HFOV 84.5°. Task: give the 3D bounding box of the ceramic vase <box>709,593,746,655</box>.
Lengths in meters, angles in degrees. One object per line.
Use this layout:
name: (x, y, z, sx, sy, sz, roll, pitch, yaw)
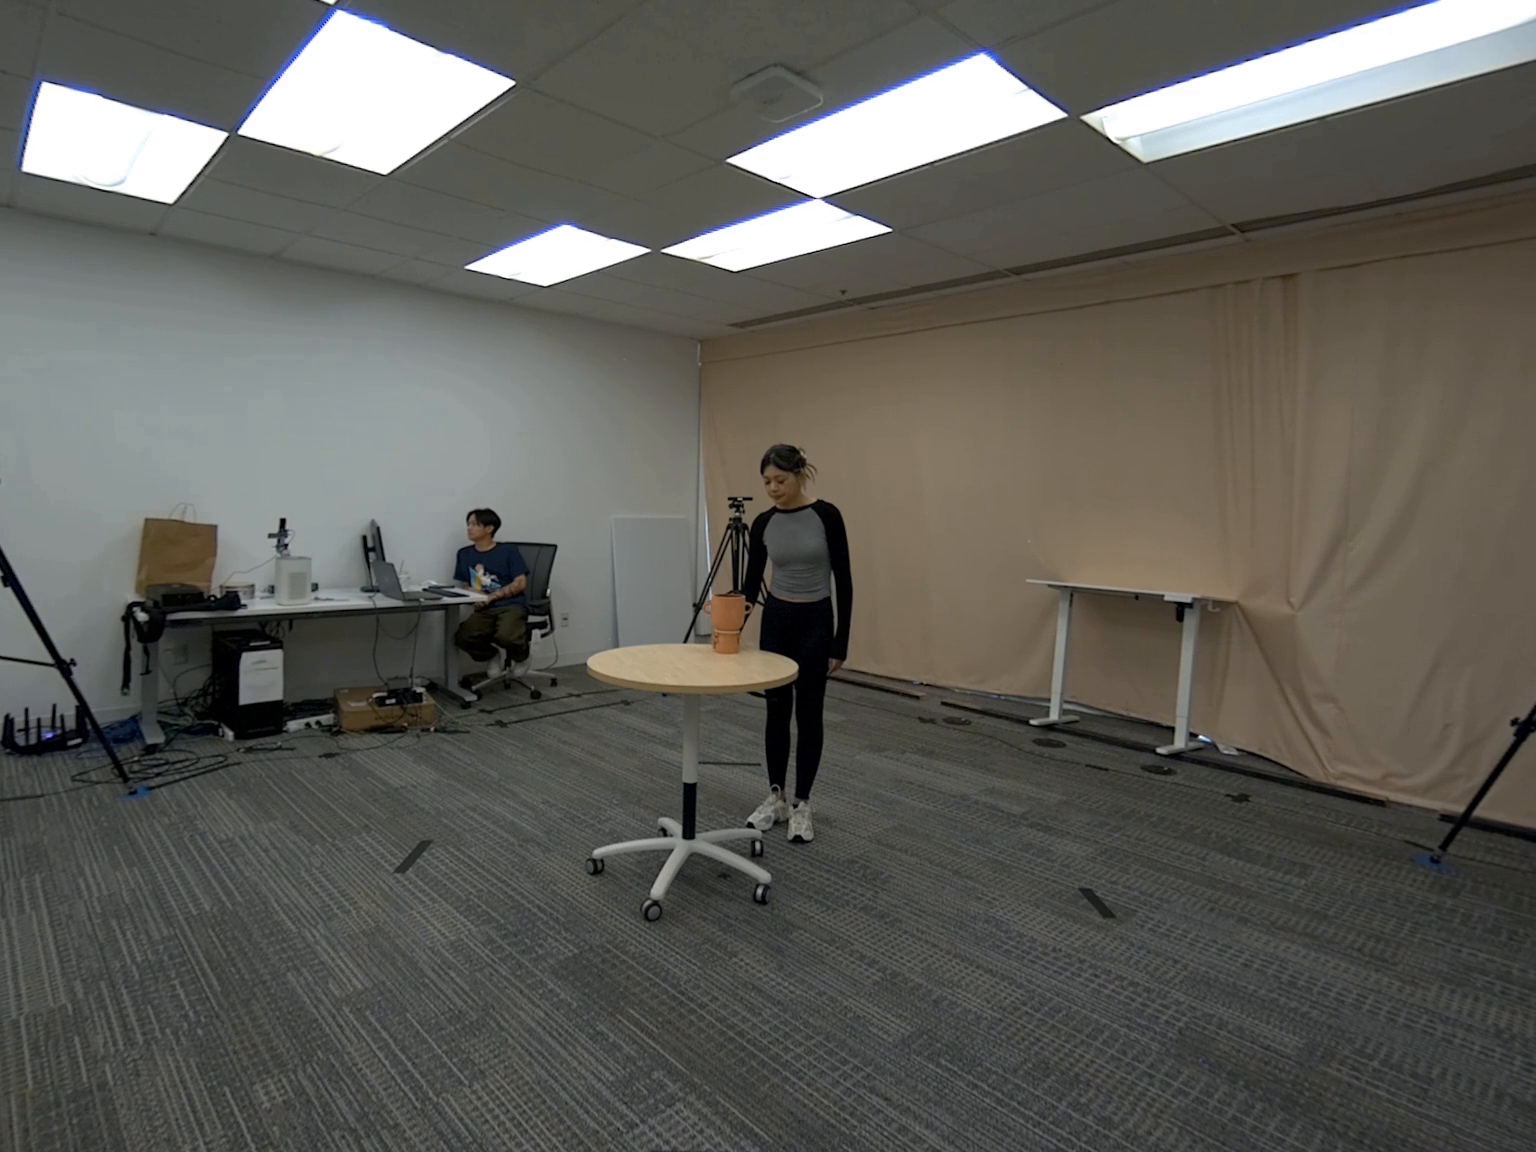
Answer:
ceramic vase: (-0.169, 0.186, 3.295, 0.162, 0.219, 0.132, 2, 4, 31)
